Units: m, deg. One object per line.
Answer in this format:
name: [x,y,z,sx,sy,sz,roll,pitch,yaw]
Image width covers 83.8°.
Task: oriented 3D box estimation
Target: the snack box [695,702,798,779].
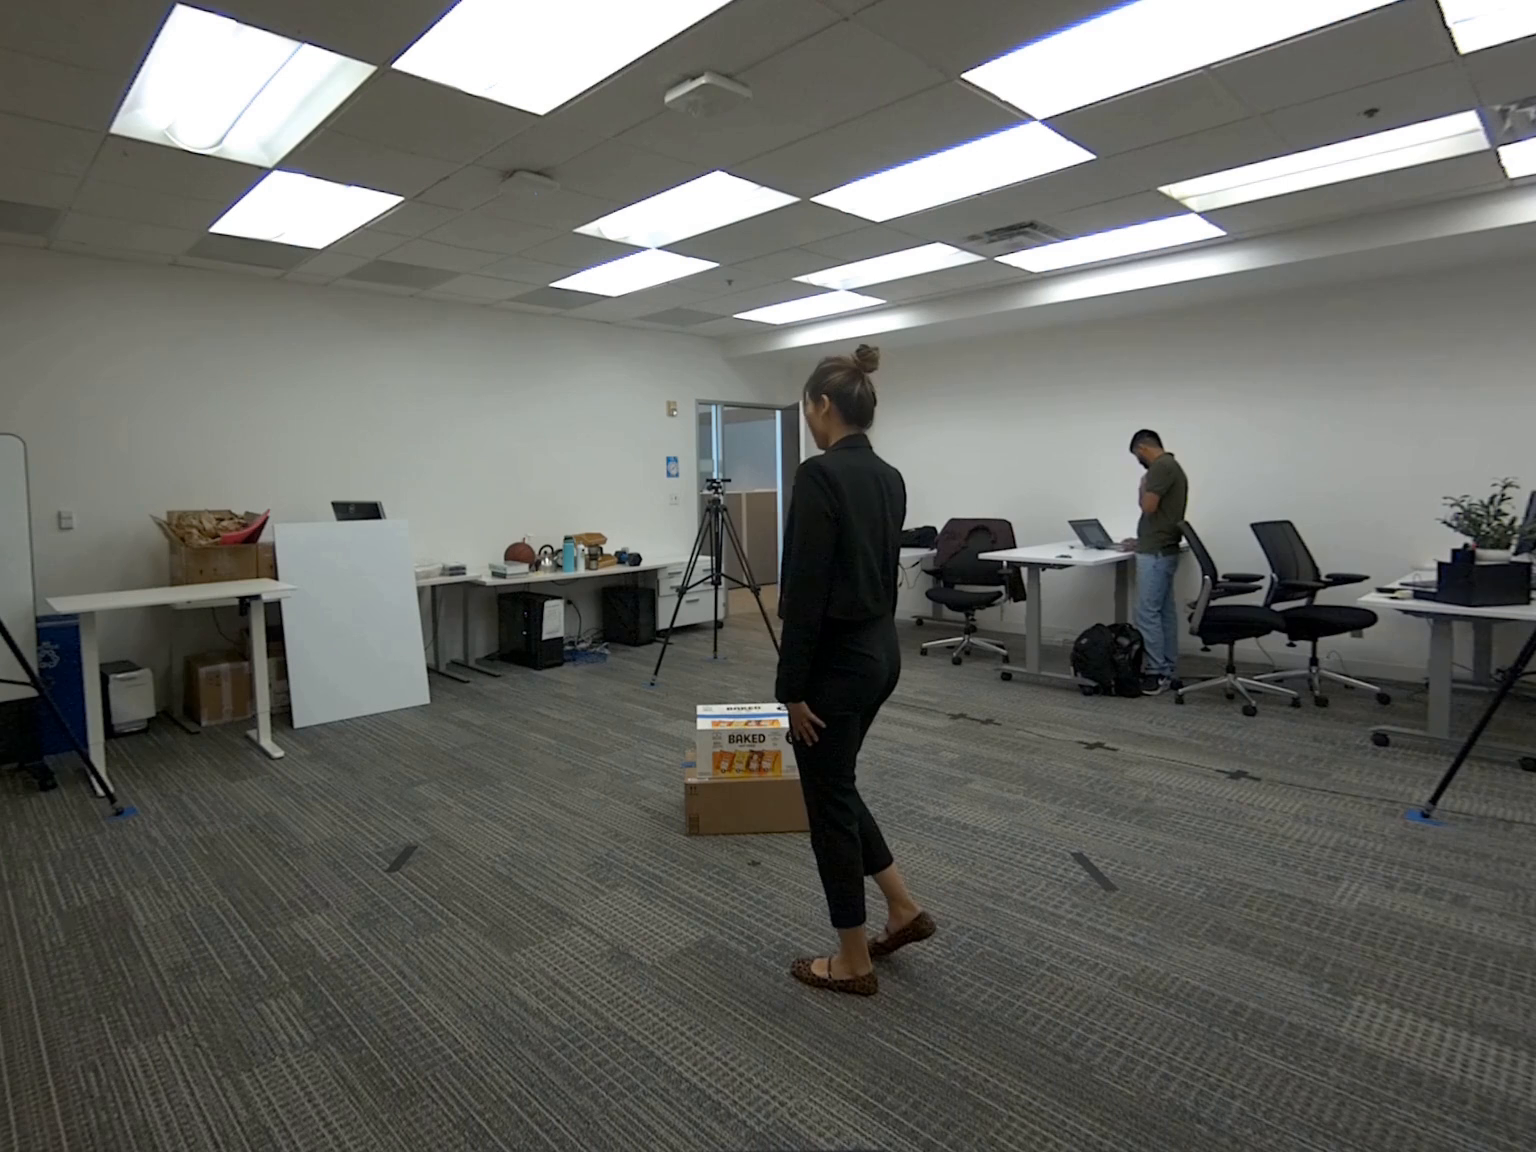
snack box: [-0.093,0.678,3.549,0.404,0.204,0.343,-1,7,-3]
